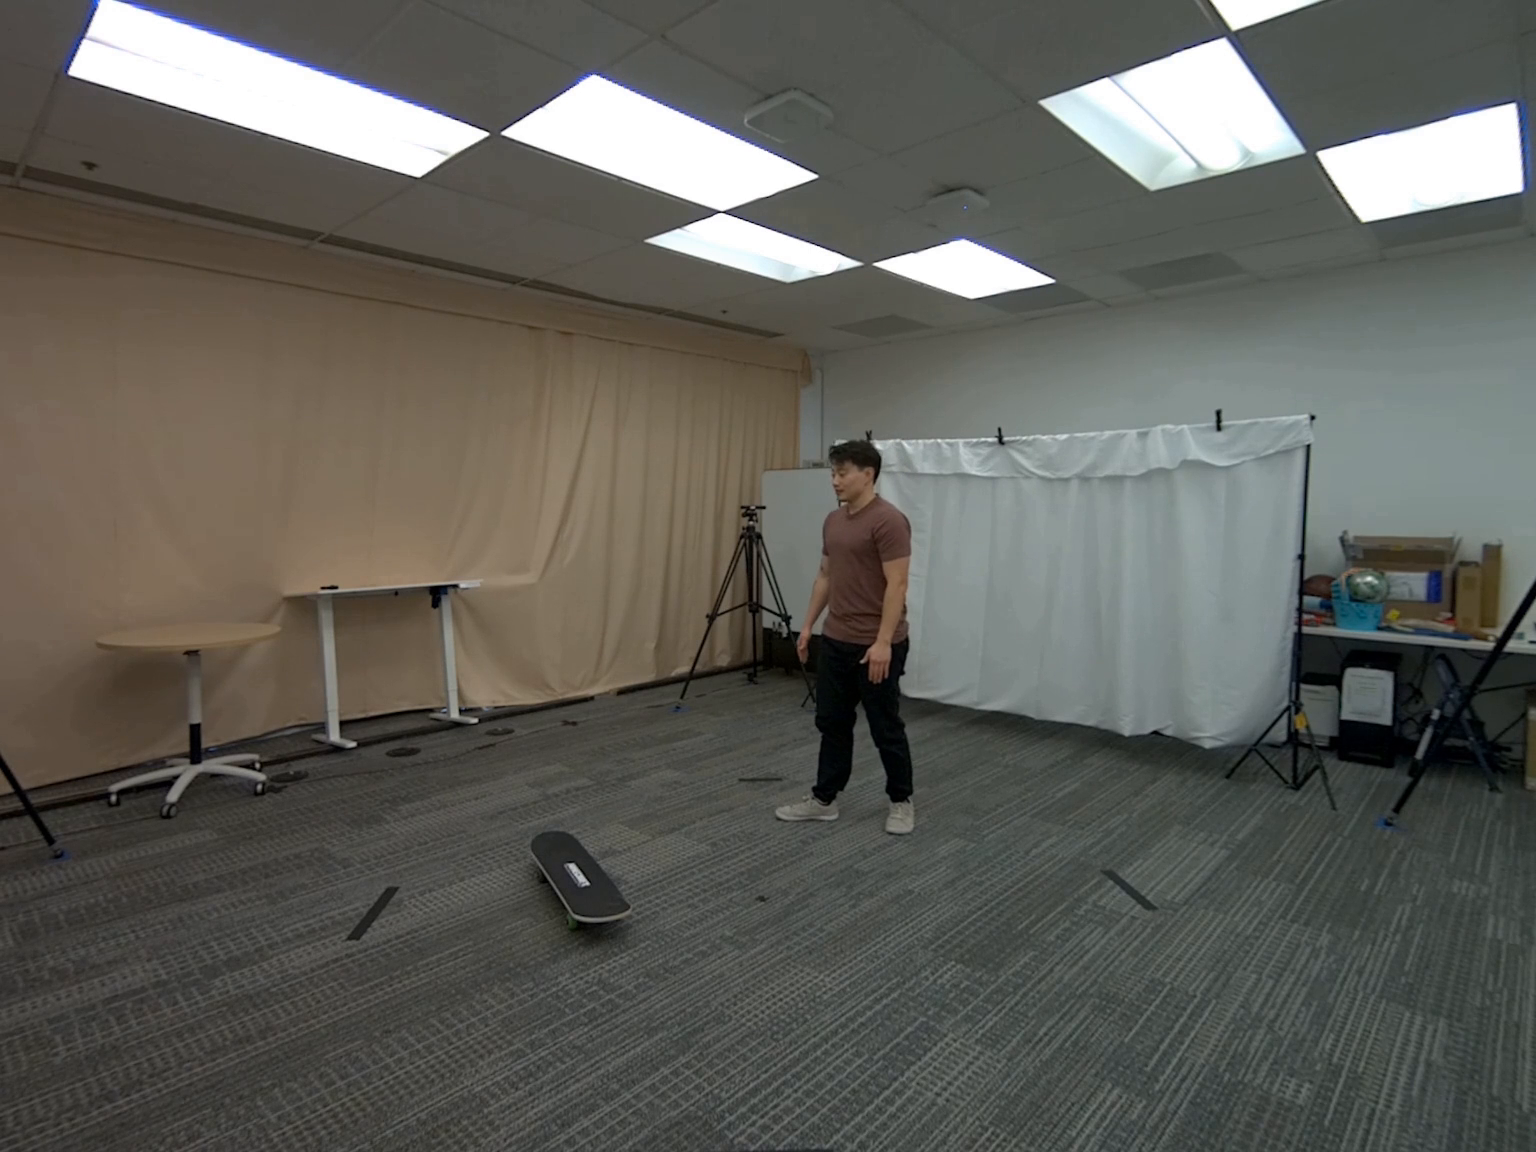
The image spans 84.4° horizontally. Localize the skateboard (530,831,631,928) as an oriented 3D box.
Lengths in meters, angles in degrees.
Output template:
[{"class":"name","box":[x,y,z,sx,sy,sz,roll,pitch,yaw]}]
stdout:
[{"class":"skateboard","box":[-0.677,1.090,2.988,0.188,0.110,0.807,-3,5,-28]}]
